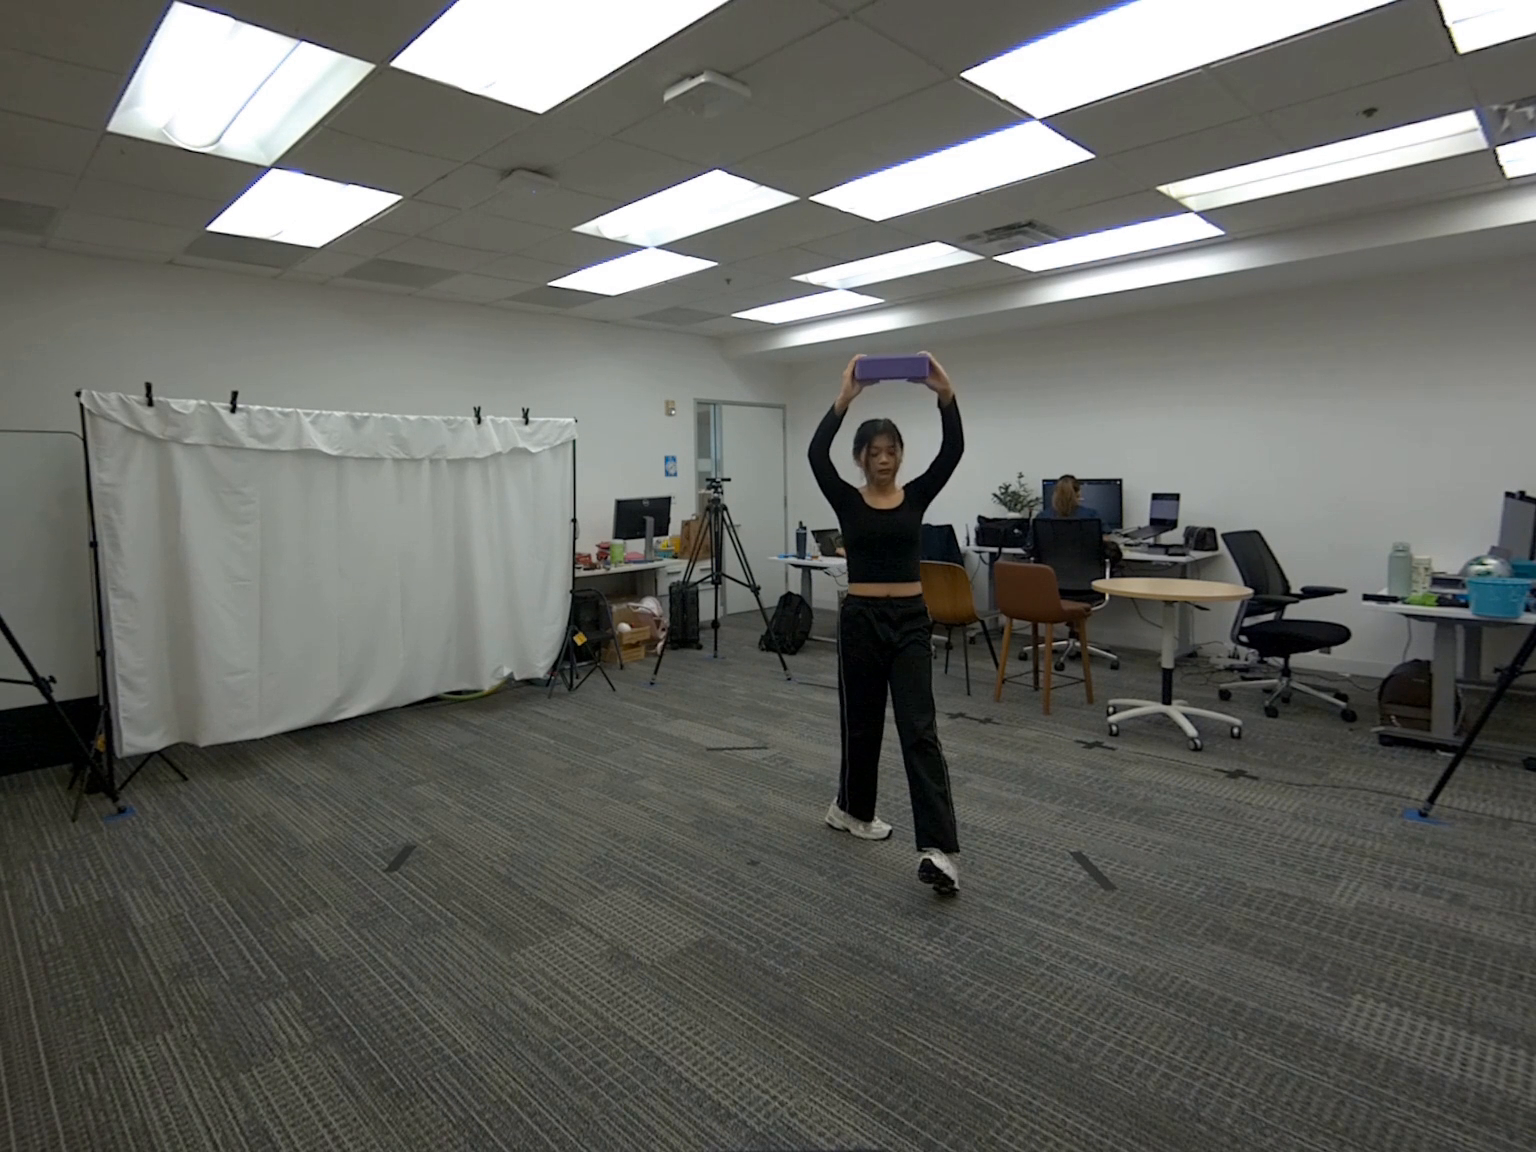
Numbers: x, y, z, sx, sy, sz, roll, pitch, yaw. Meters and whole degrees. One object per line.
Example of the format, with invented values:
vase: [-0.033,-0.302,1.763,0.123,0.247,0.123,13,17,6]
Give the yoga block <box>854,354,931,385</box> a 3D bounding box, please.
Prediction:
yoga block: [0.426,-0.690,2.817,0.232,0.076,0.149,1,12,11]
